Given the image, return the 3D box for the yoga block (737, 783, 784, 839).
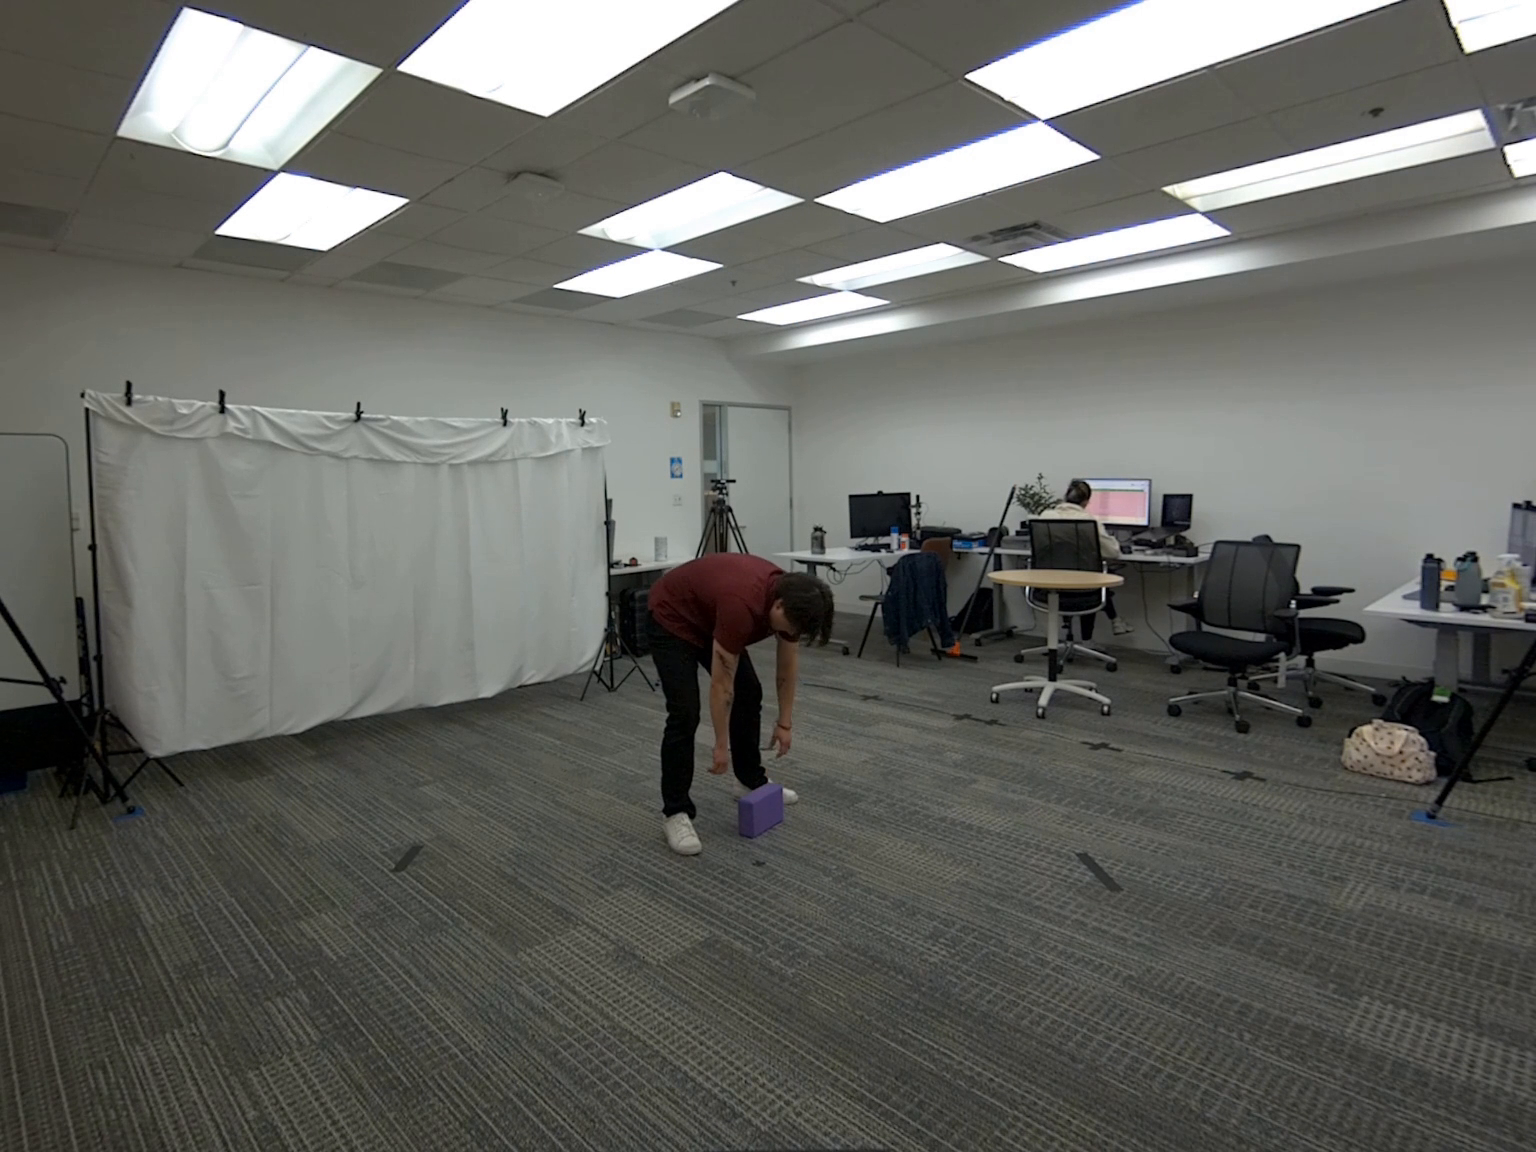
[{"bbox_3d":[-0.031,0.936,3.431,0.078,0.148,0.224,1,5,33],"label":"yoga block"}]
